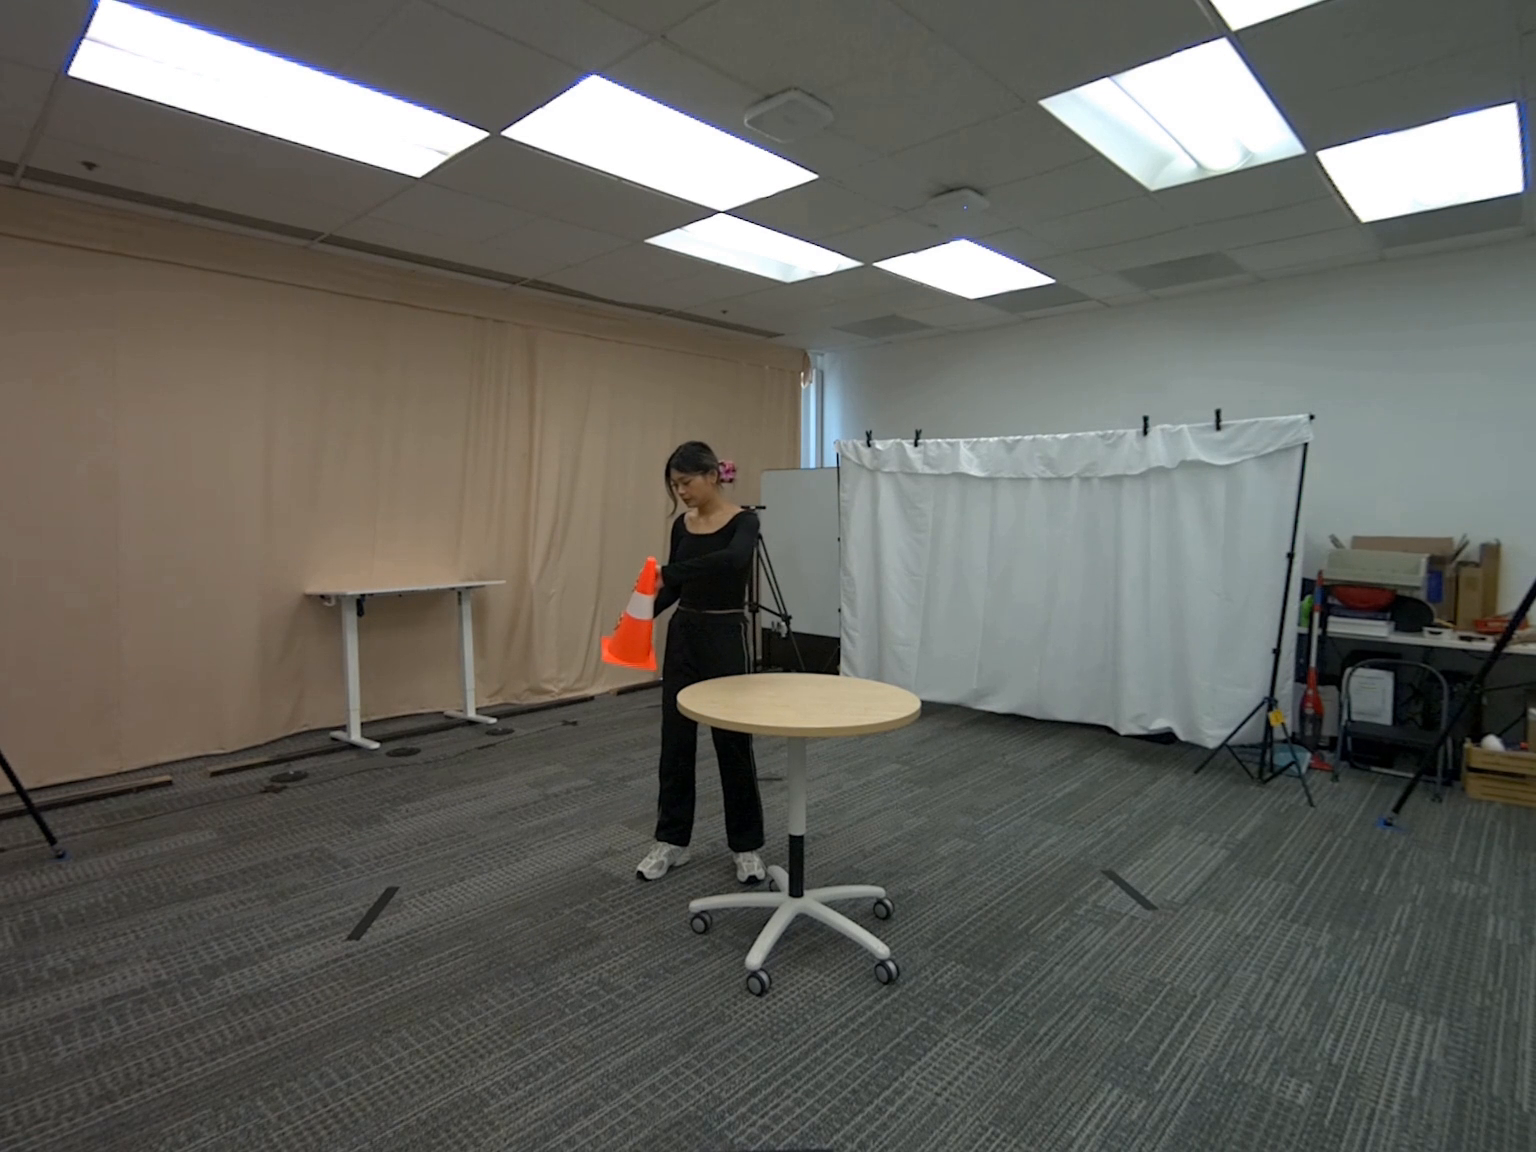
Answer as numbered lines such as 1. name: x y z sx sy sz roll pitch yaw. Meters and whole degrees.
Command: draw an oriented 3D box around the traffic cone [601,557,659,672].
1. traffic cone: -0.452 0.115 2.992 0.204 0.381 0.205 14 17 -5
